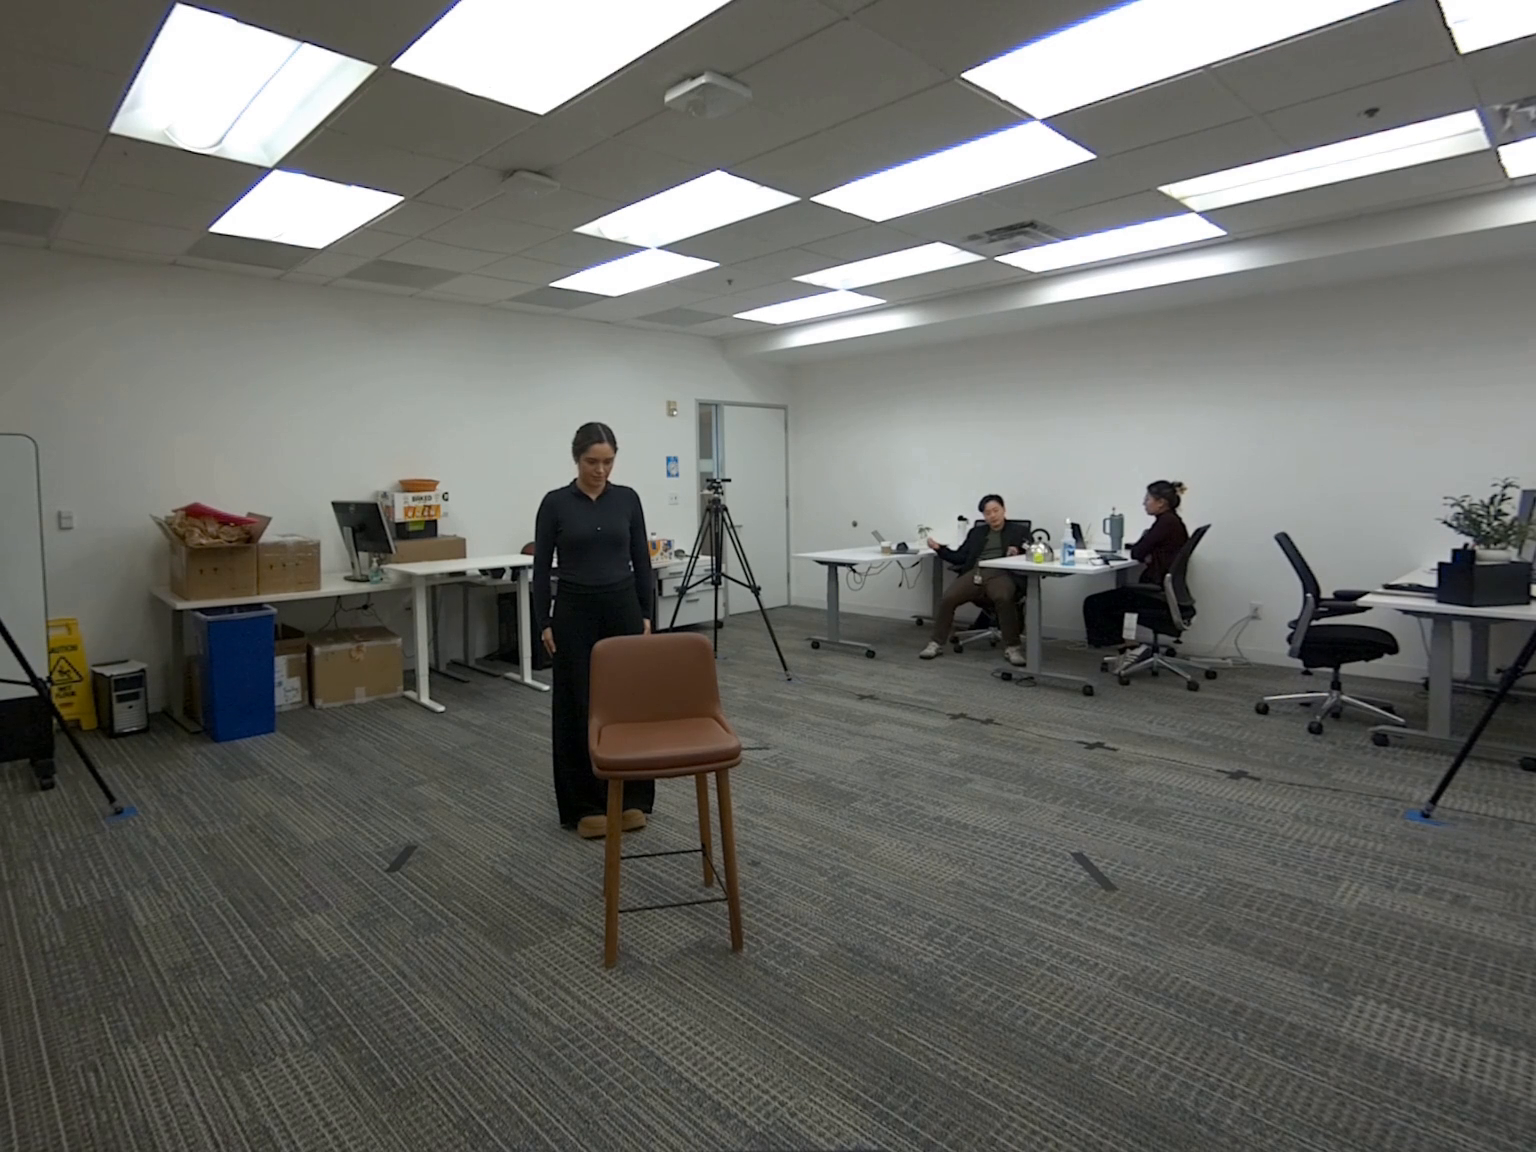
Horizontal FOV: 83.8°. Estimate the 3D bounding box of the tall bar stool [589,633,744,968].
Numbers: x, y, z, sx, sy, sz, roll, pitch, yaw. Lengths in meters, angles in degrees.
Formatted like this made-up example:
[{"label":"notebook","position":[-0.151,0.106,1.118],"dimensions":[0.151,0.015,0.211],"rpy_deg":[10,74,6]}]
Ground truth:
[{"label":"tall bar stool","position":[-0.327,0.656,2.694],"dimensions":[0.451,0.888,0.473],"rpy_deg":[-1,2,-12]}]
